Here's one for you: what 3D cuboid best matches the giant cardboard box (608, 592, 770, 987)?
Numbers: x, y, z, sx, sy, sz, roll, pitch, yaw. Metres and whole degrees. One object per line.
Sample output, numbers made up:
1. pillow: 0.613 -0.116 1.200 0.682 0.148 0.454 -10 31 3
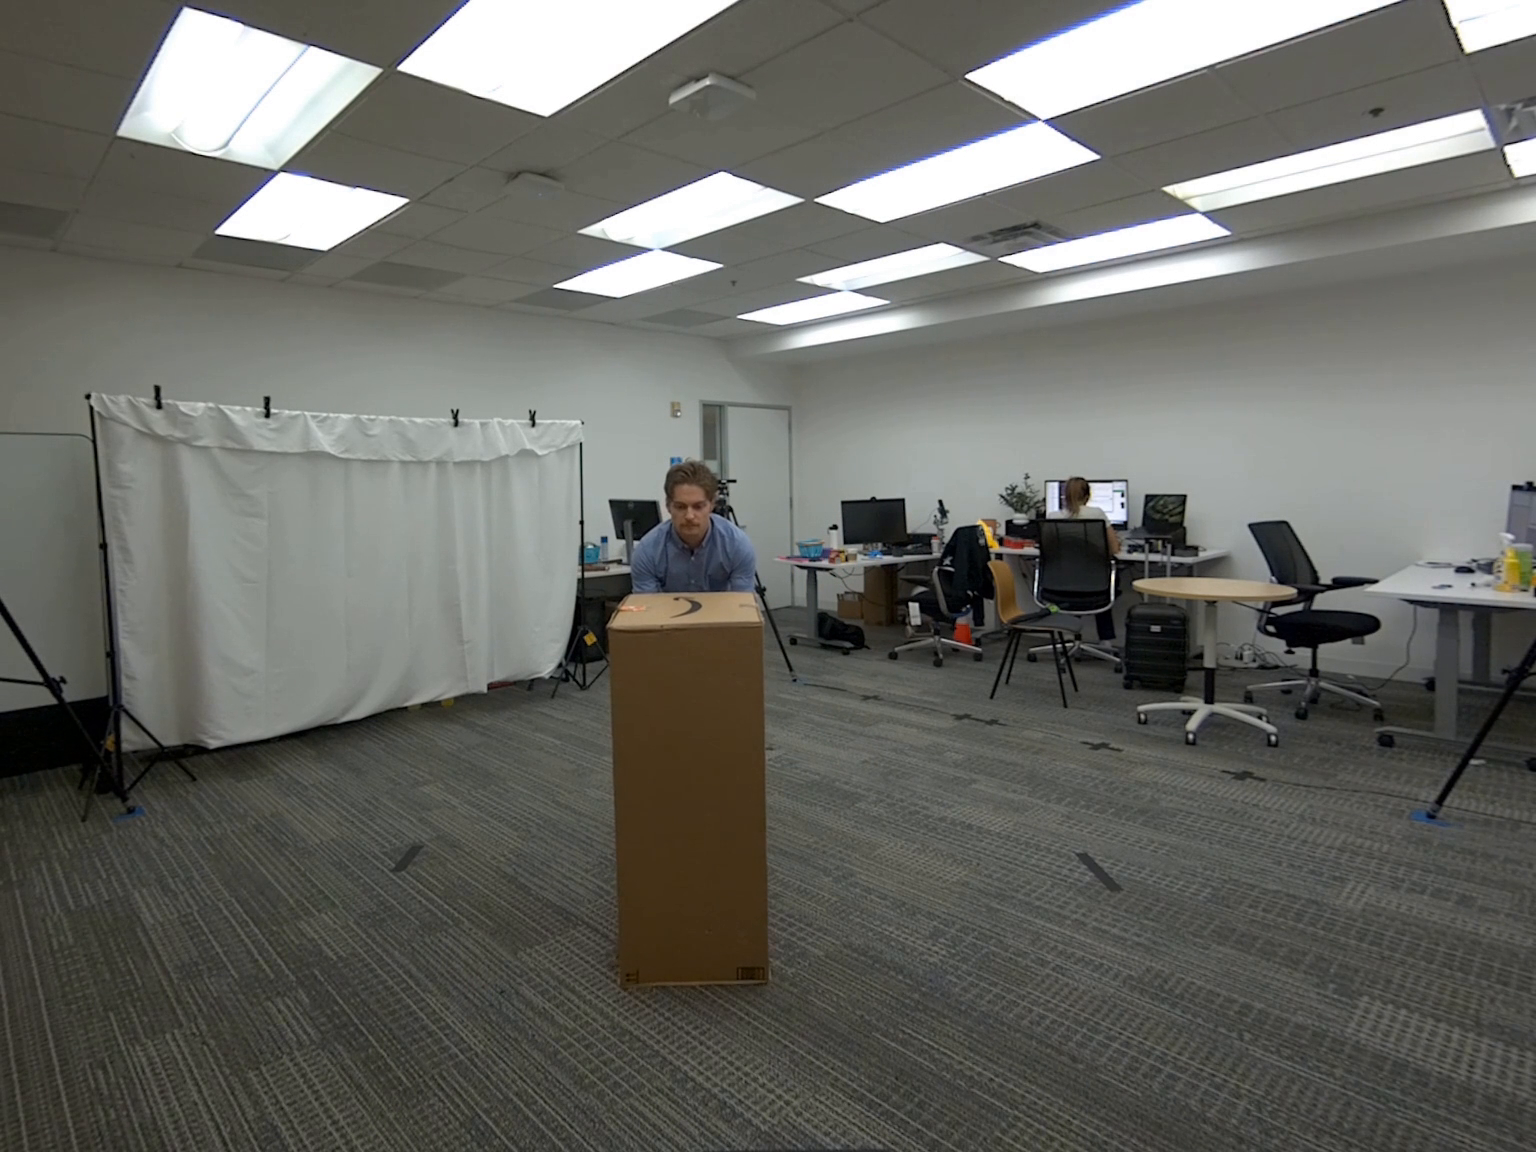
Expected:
1. giant cardboard box: -0.239 0.600 2.617 0.425 1.022 0.581 -2 5 -3
